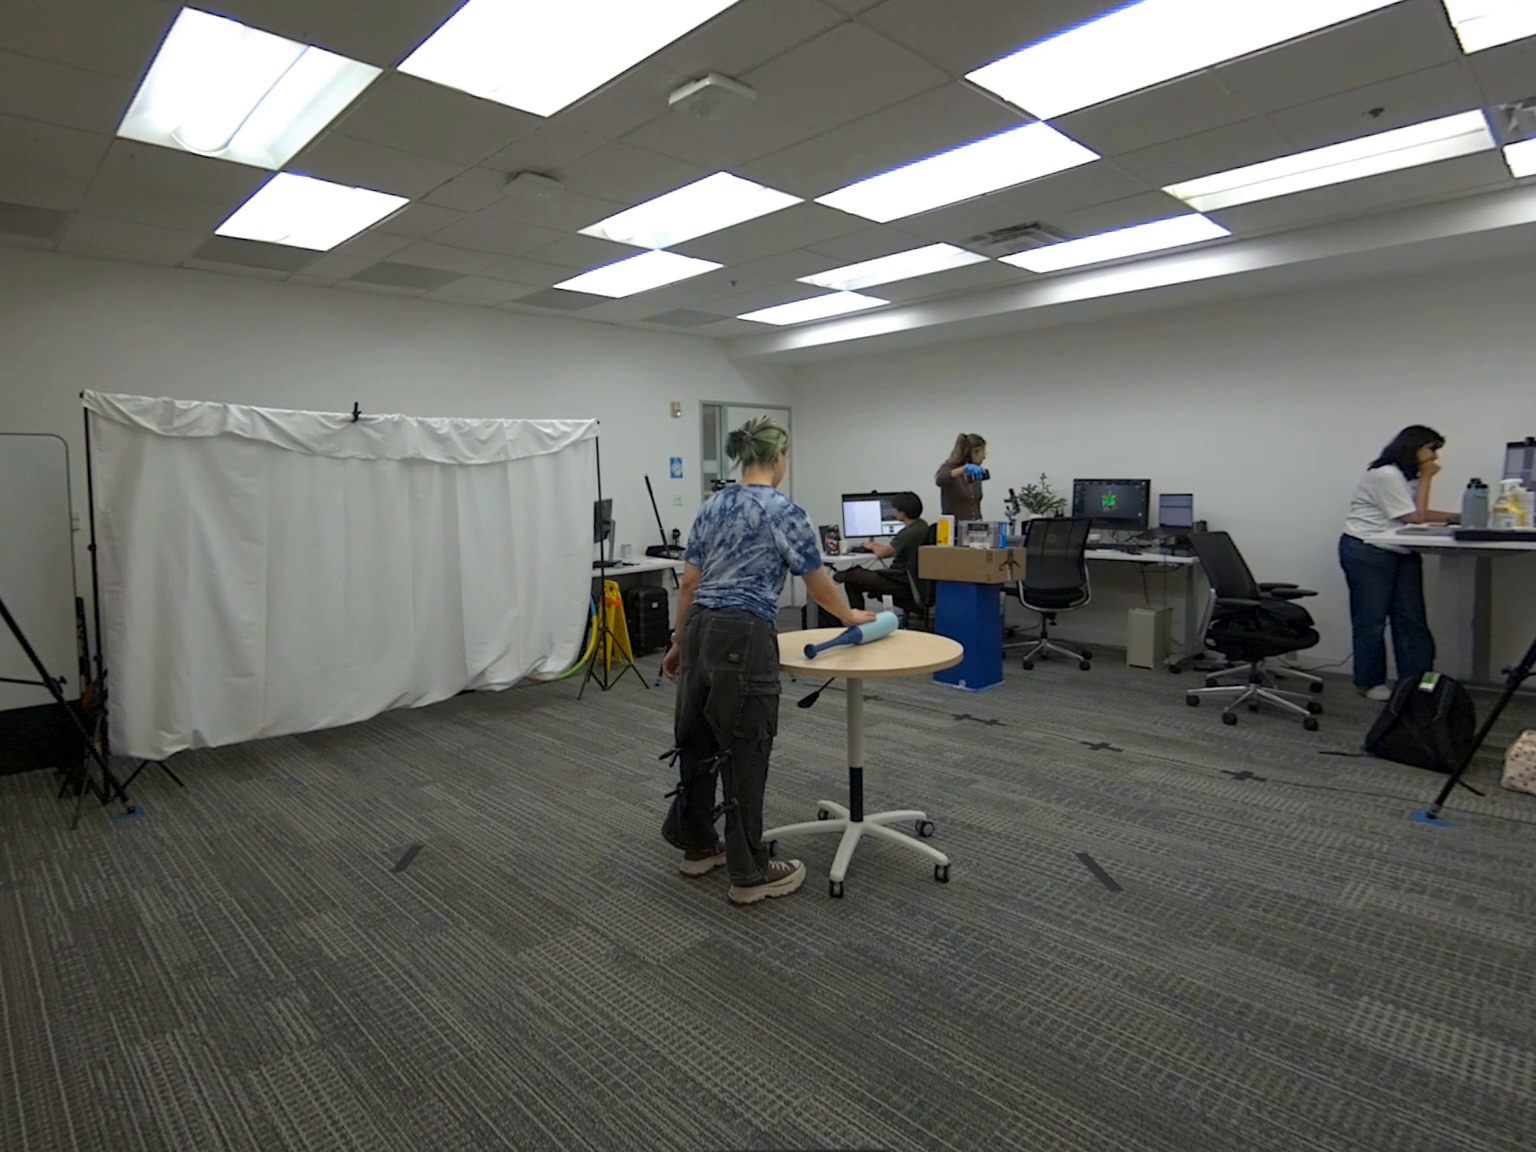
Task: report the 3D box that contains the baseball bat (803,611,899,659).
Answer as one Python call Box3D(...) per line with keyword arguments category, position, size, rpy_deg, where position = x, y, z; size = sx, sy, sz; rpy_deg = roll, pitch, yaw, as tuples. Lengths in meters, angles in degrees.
Box3D(category="baseball bat", position=(0.311, 0.224, 3.096), size=(0.092, 0.088, 0.531), rpy_deg=(3, 11, 38))
